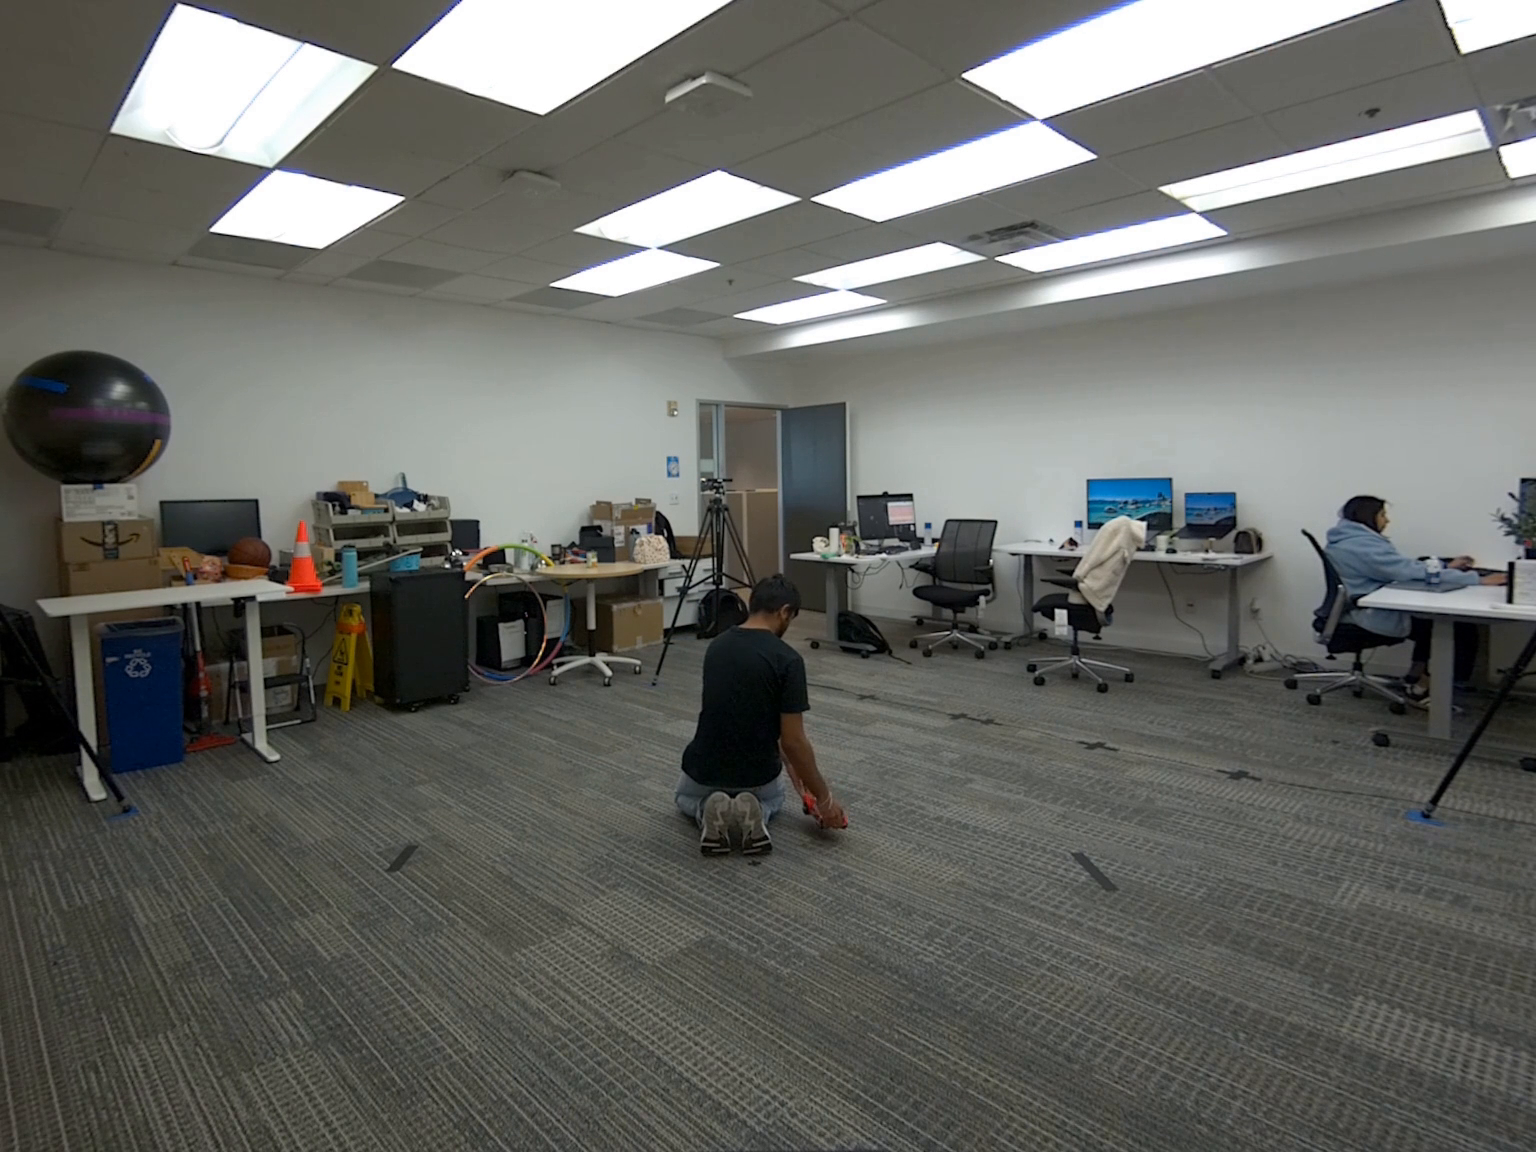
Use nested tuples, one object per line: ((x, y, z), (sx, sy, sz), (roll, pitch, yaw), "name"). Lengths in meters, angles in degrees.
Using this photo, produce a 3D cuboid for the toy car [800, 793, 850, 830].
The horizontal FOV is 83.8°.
((0.217, 0.925, 3.391), (0.128, 0.082, 0.262), (3, 17, -18), "toy car")
